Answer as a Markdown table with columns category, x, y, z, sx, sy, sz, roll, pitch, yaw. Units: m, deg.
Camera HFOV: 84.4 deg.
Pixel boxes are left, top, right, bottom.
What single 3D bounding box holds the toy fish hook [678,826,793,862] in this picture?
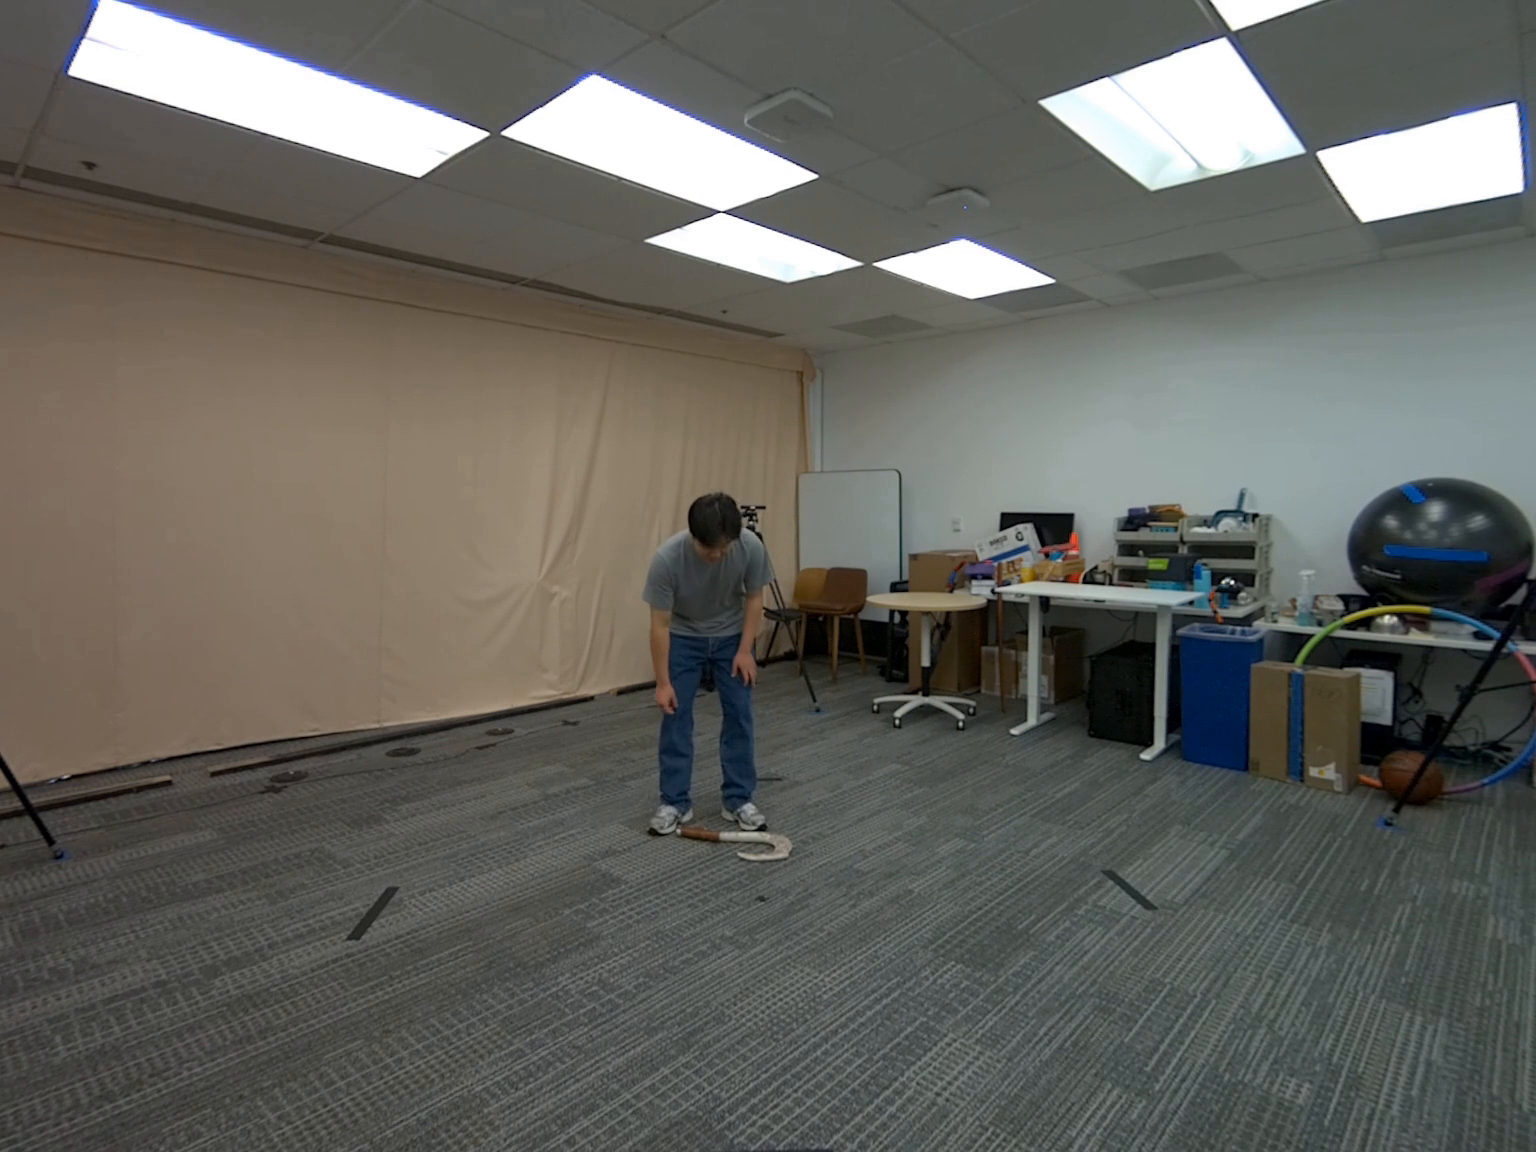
| category | x | y | z | sx | sy | sz | roll | pitch | yaw |
| --- | --- | --- | --- | --- | --- | --- | --- | --- | --- |
| toy fish hook | -0.154 | 1.085 | 3.425 | 0.515 | 0.048 | 0.221 | 0 | 4 | 16 |
